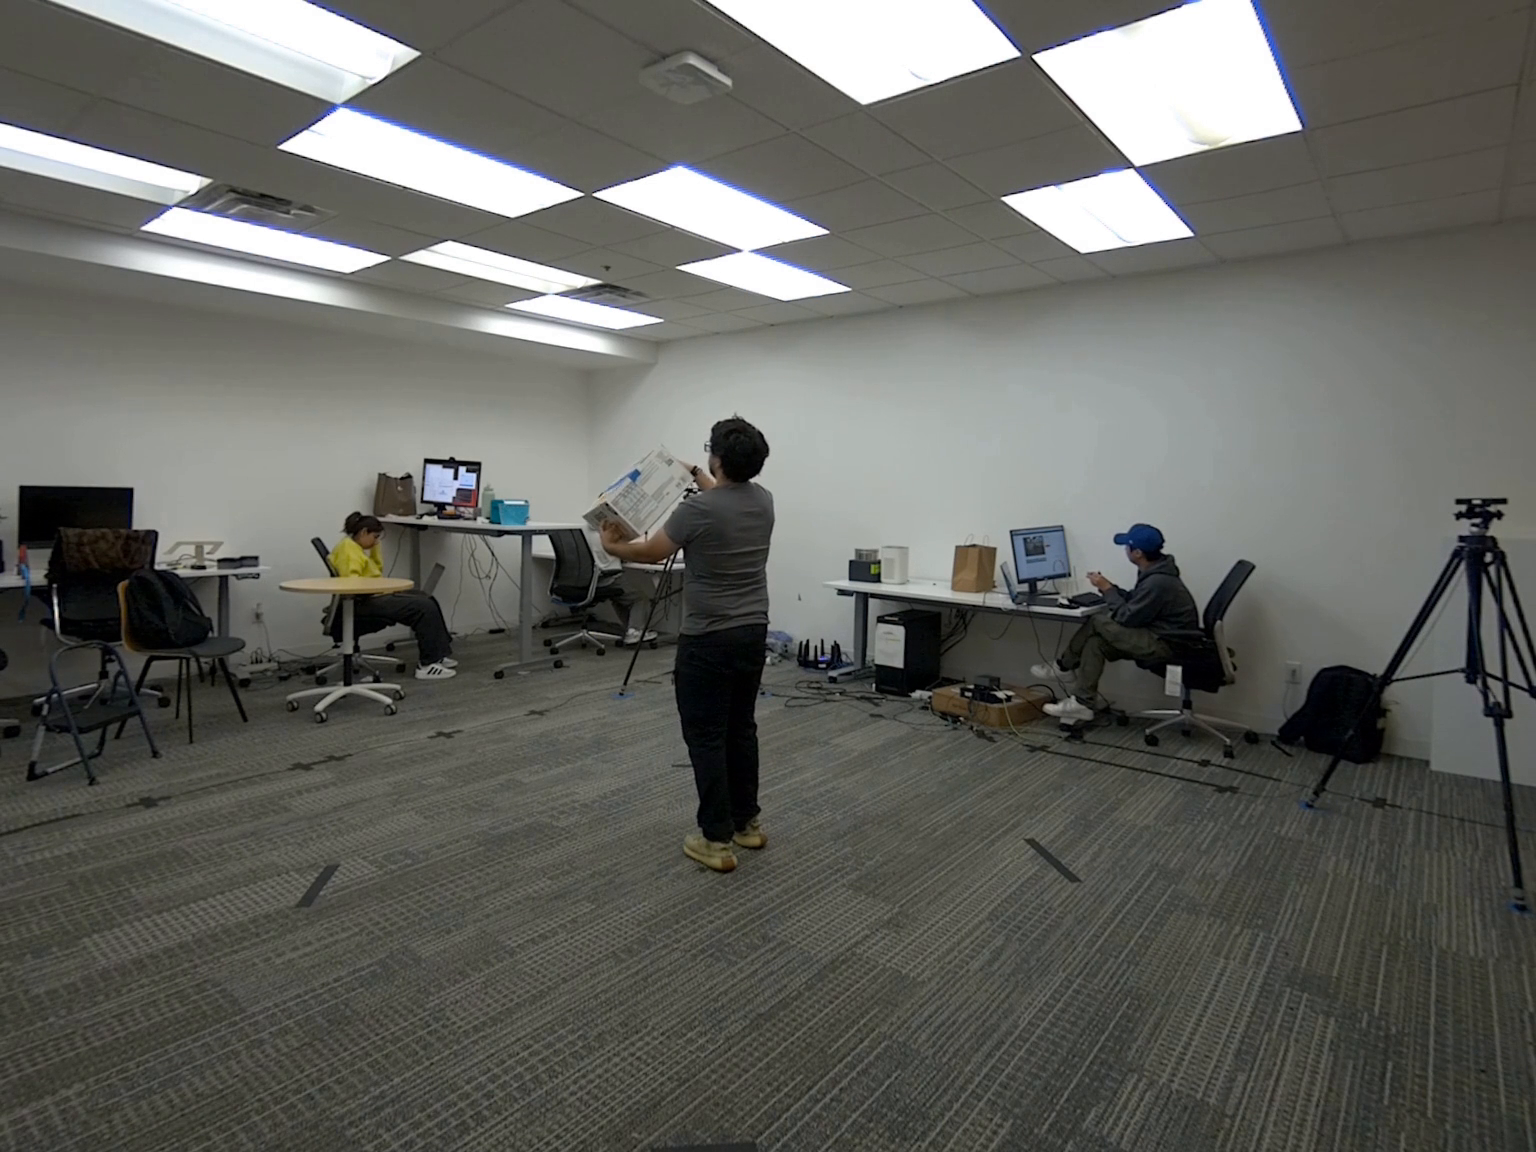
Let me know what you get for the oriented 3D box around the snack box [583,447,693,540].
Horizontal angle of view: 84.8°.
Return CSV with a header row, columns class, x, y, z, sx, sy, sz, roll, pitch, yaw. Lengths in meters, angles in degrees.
class,x,y,z,sx,sy,sz,roll,pitch,yaw
snack box,-0.563,-0.330,3.571,0.202,0.340,0.412,45,-21,-14
